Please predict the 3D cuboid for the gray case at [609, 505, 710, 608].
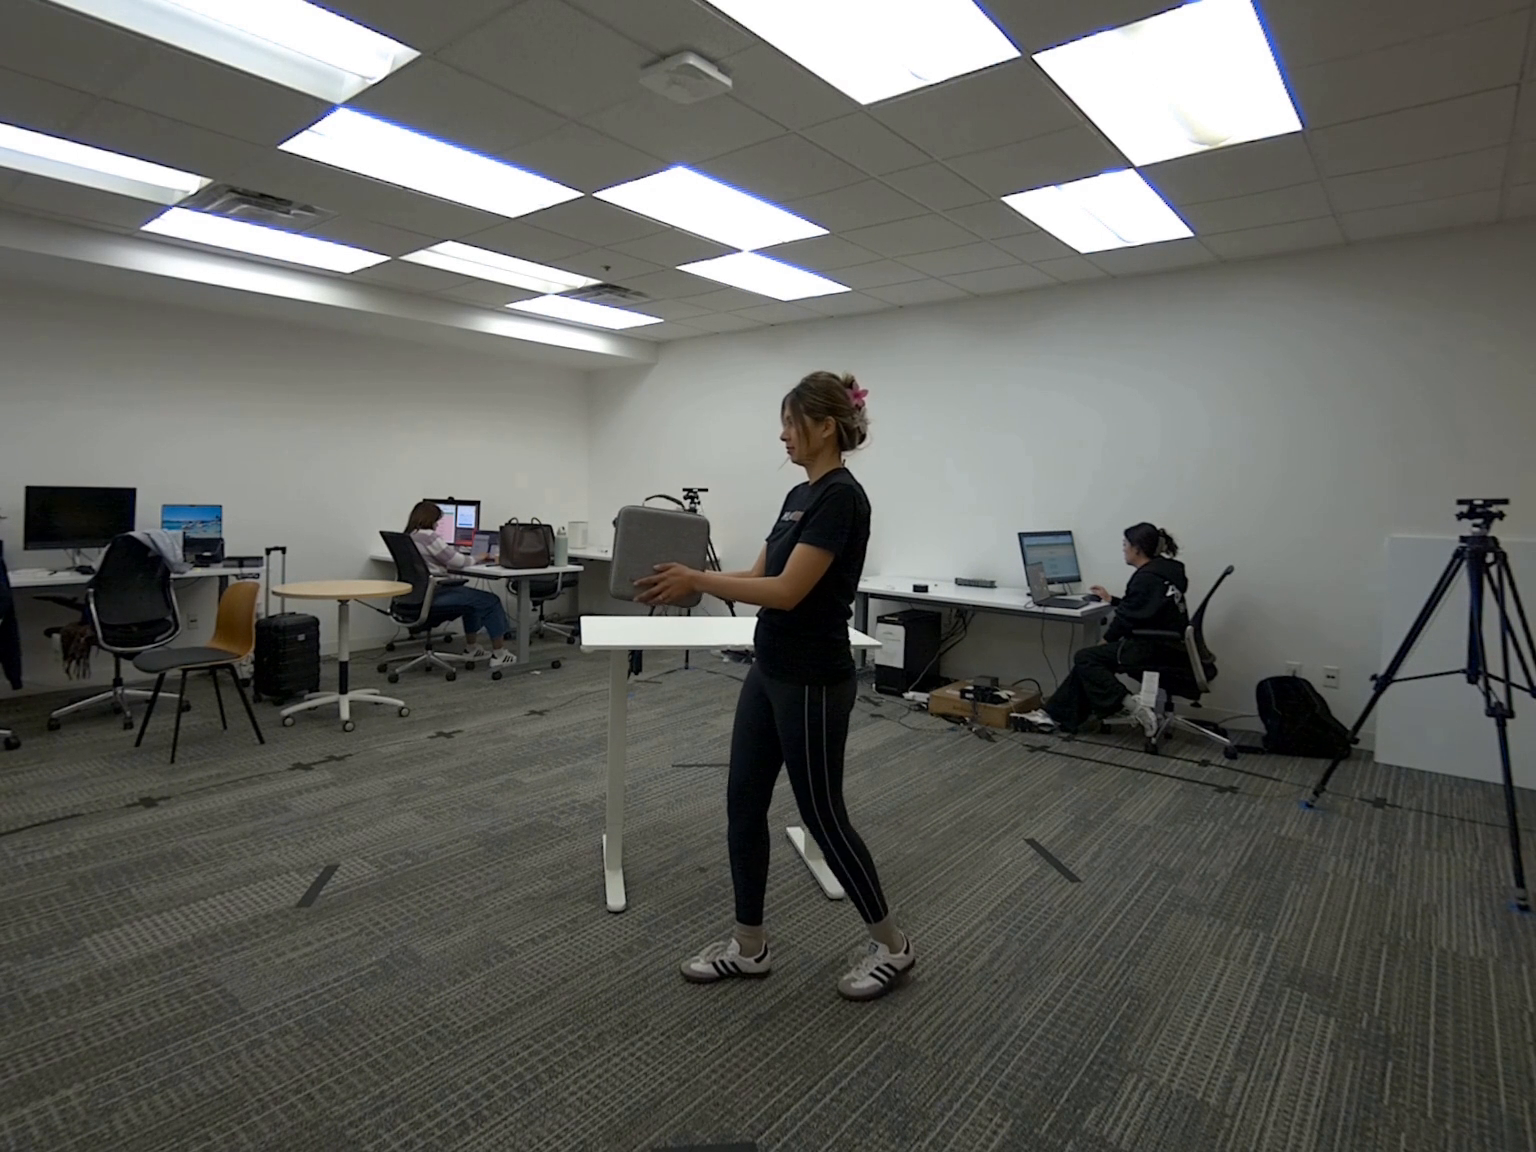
[{"bbox_3d":[-0.308,-0.062,2.326,0.253,0.261,0.105,7,-4,-12],"label":"gray case"}]
